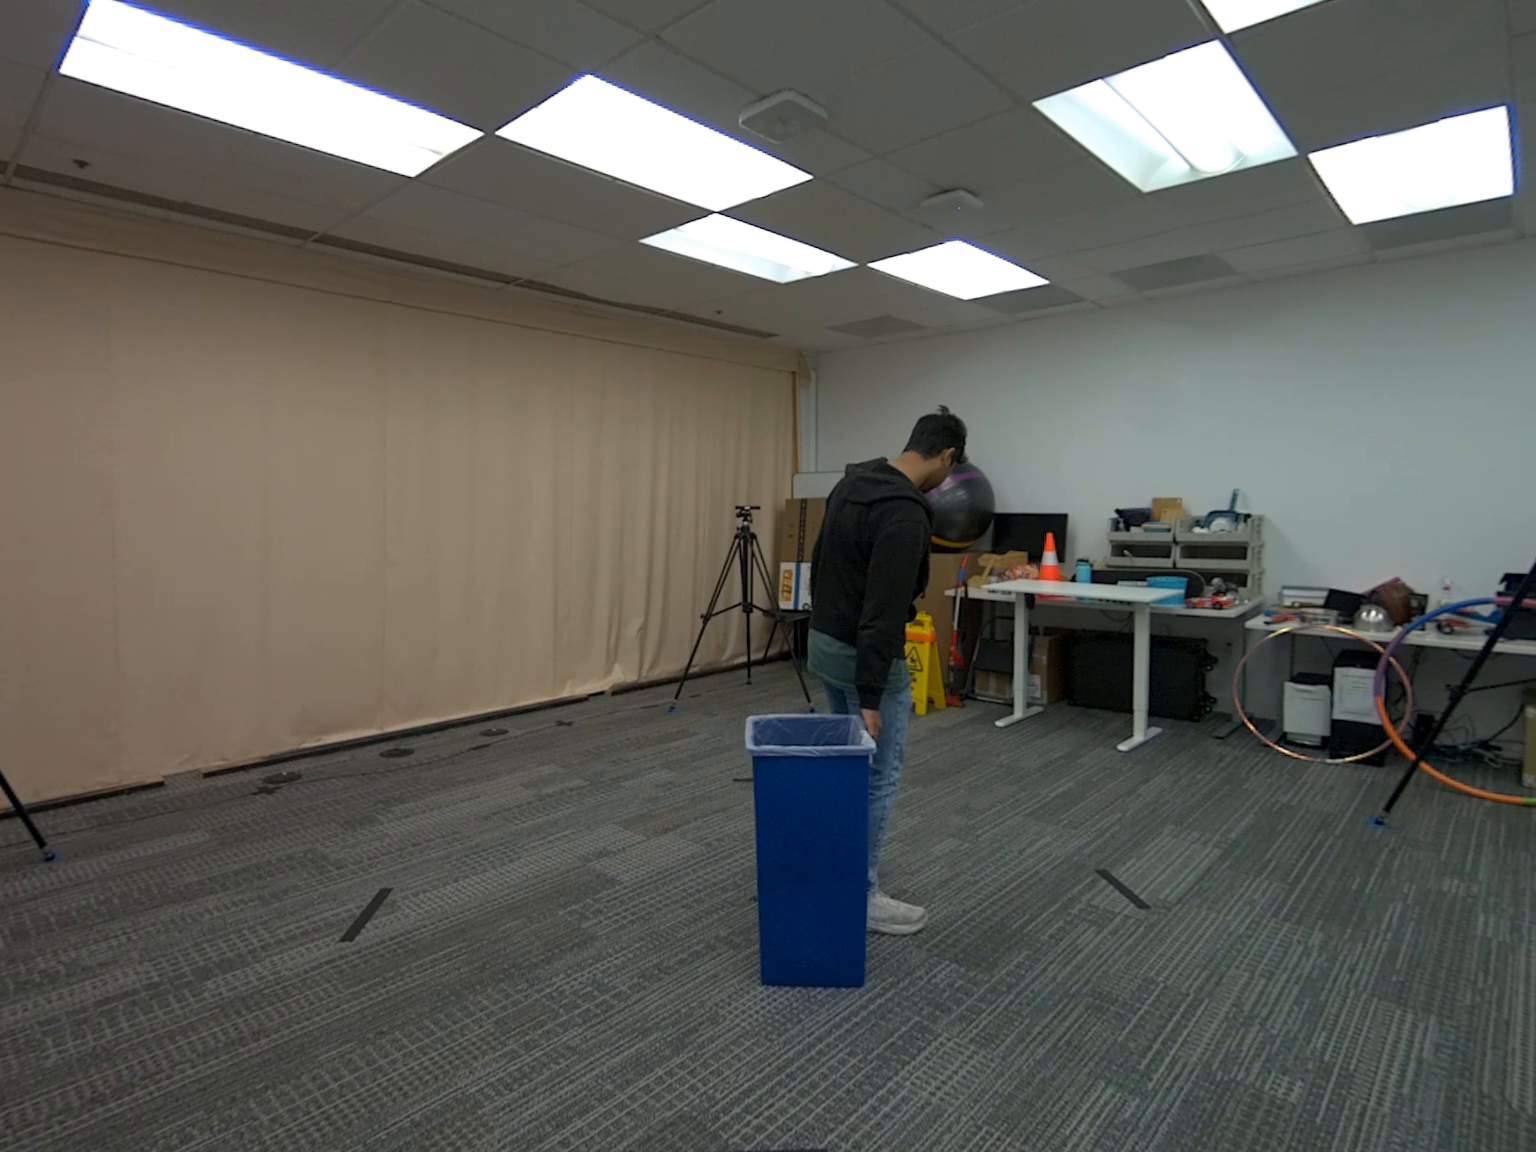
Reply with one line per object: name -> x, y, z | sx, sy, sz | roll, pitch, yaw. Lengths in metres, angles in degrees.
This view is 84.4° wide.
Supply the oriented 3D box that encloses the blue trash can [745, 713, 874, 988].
blue trash can -> 0.123, 0.820, 2.569 | 0.379, 0.712, 0.374 | 0, 4, 2
